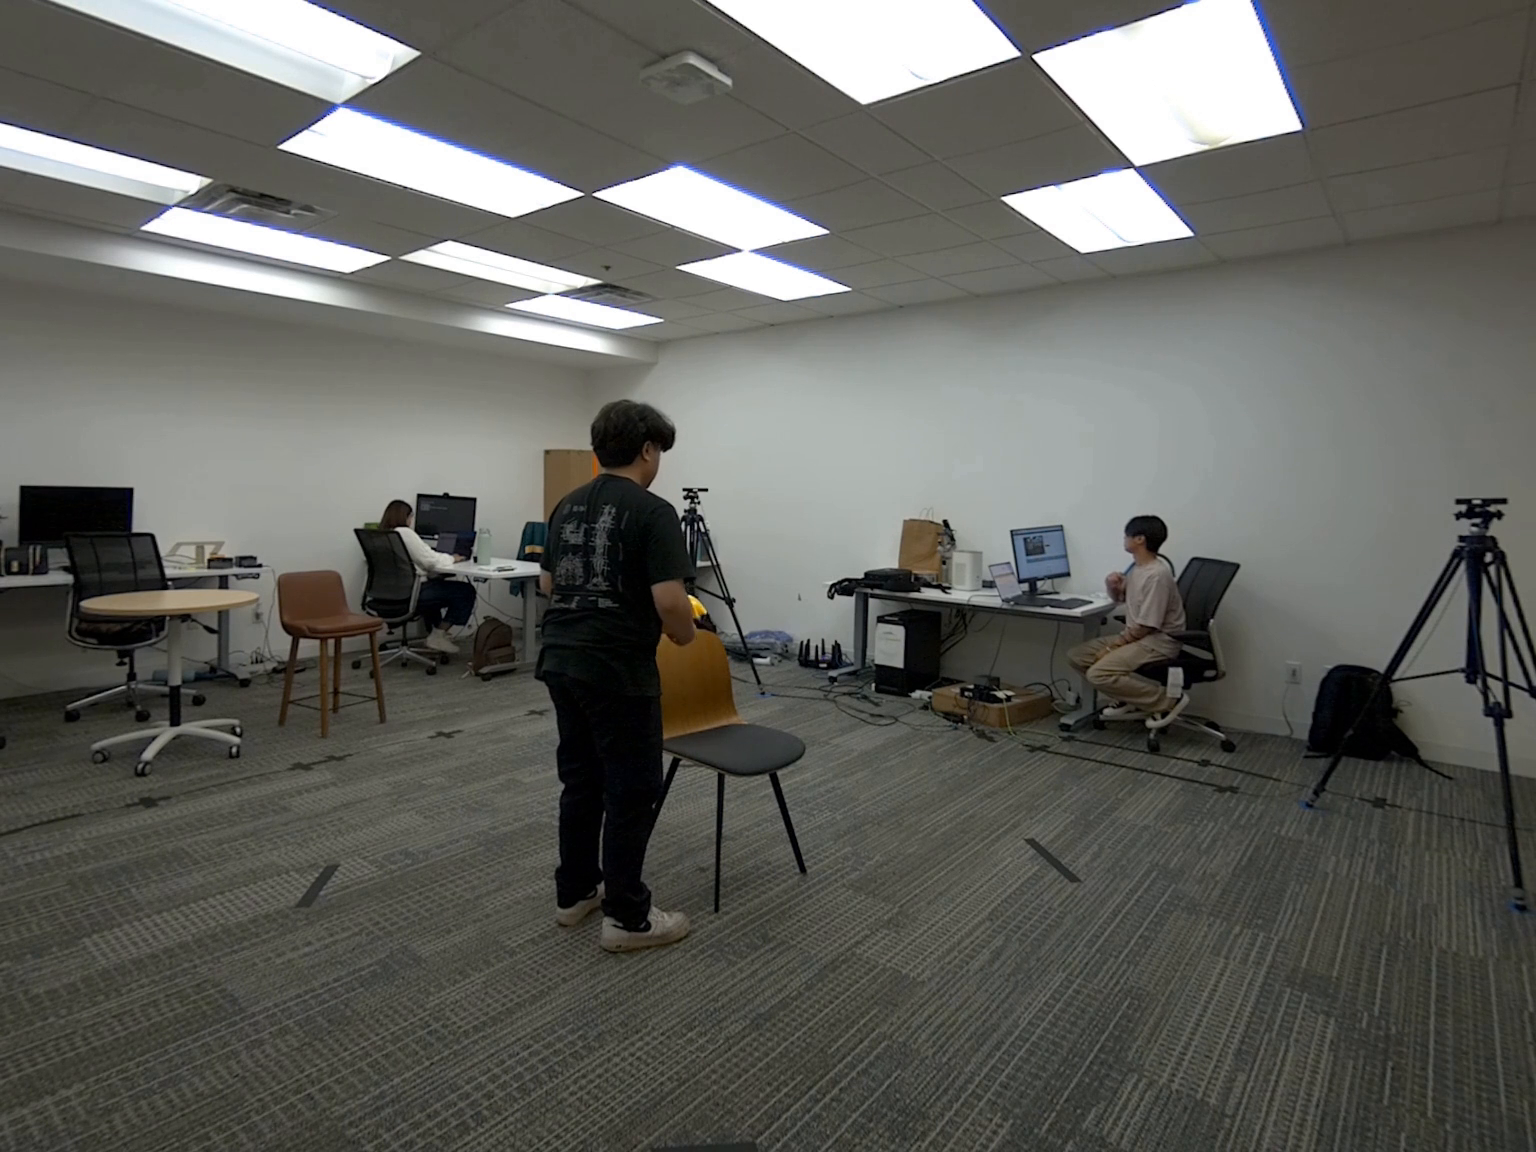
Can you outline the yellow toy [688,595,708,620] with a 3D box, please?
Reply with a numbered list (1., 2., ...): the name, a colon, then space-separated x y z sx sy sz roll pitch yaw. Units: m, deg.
1. yellow toy: -0.348 0.051 2.822 0.198 0.226 0.203 -2 19 29
